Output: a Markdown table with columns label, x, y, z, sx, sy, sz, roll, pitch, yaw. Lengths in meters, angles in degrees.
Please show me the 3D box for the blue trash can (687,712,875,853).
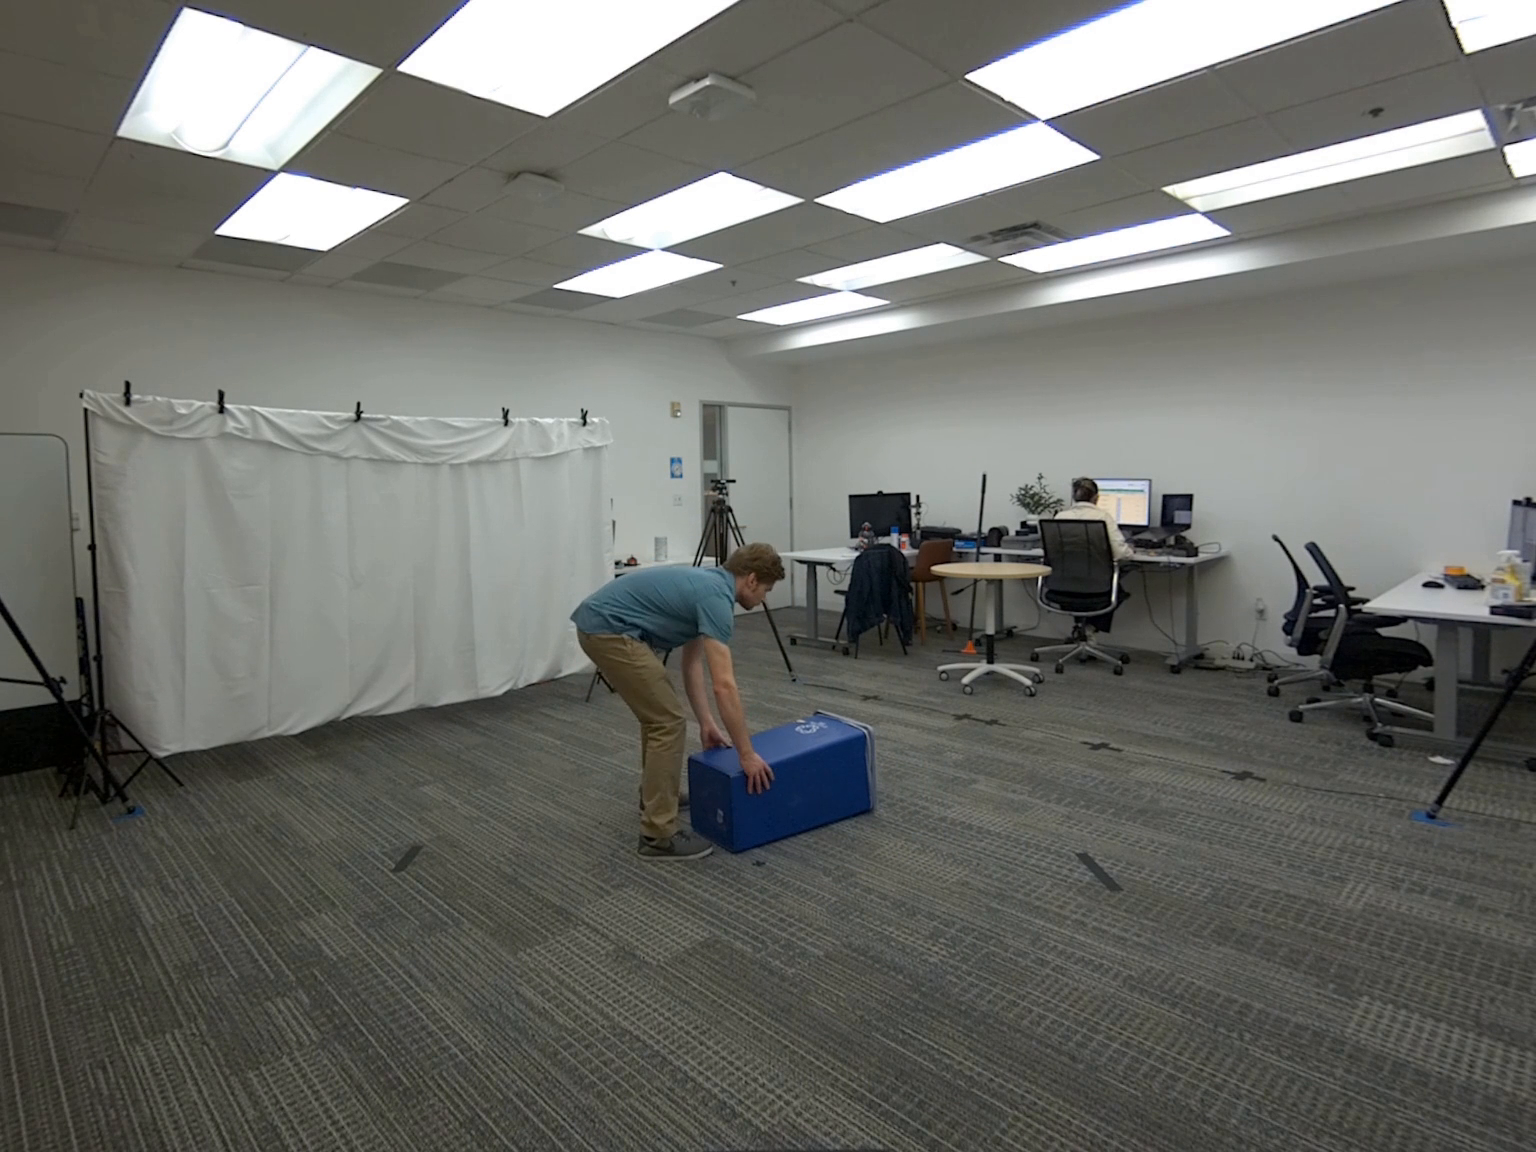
| label | x | y | z | sx | sy | sz | roll | pitch | yaw |
| --- | --- | --- | --- | --- | --- | --- | --- | --- | --- |
| blue trash can | 0.064 | 0.839 | 3.487 | 0.697 | 0.376 | 0.385 | -9 | 9 | -37 |
